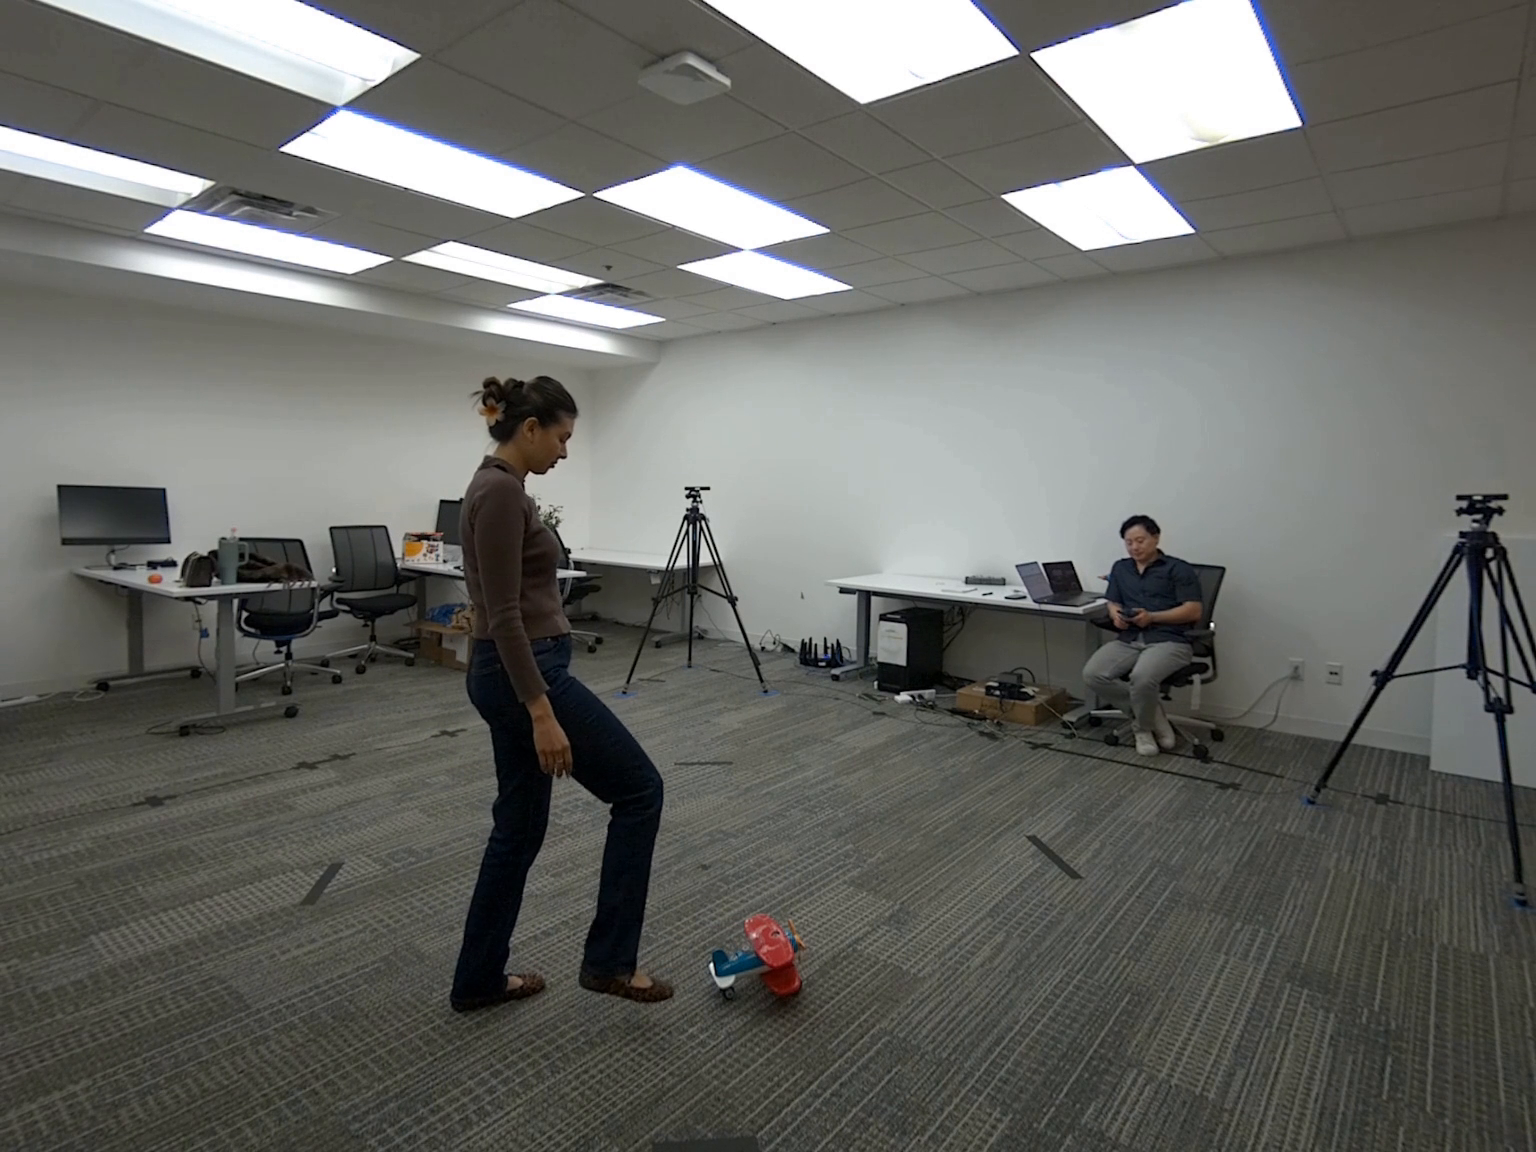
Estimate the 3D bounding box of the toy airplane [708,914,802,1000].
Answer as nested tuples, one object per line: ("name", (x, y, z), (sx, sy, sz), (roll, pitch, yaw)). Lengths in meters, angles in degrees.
("toy airplane", (-0.030, 1.069, 2.343), (0.260, 0.156, 0.251), (6, 6, 44))
